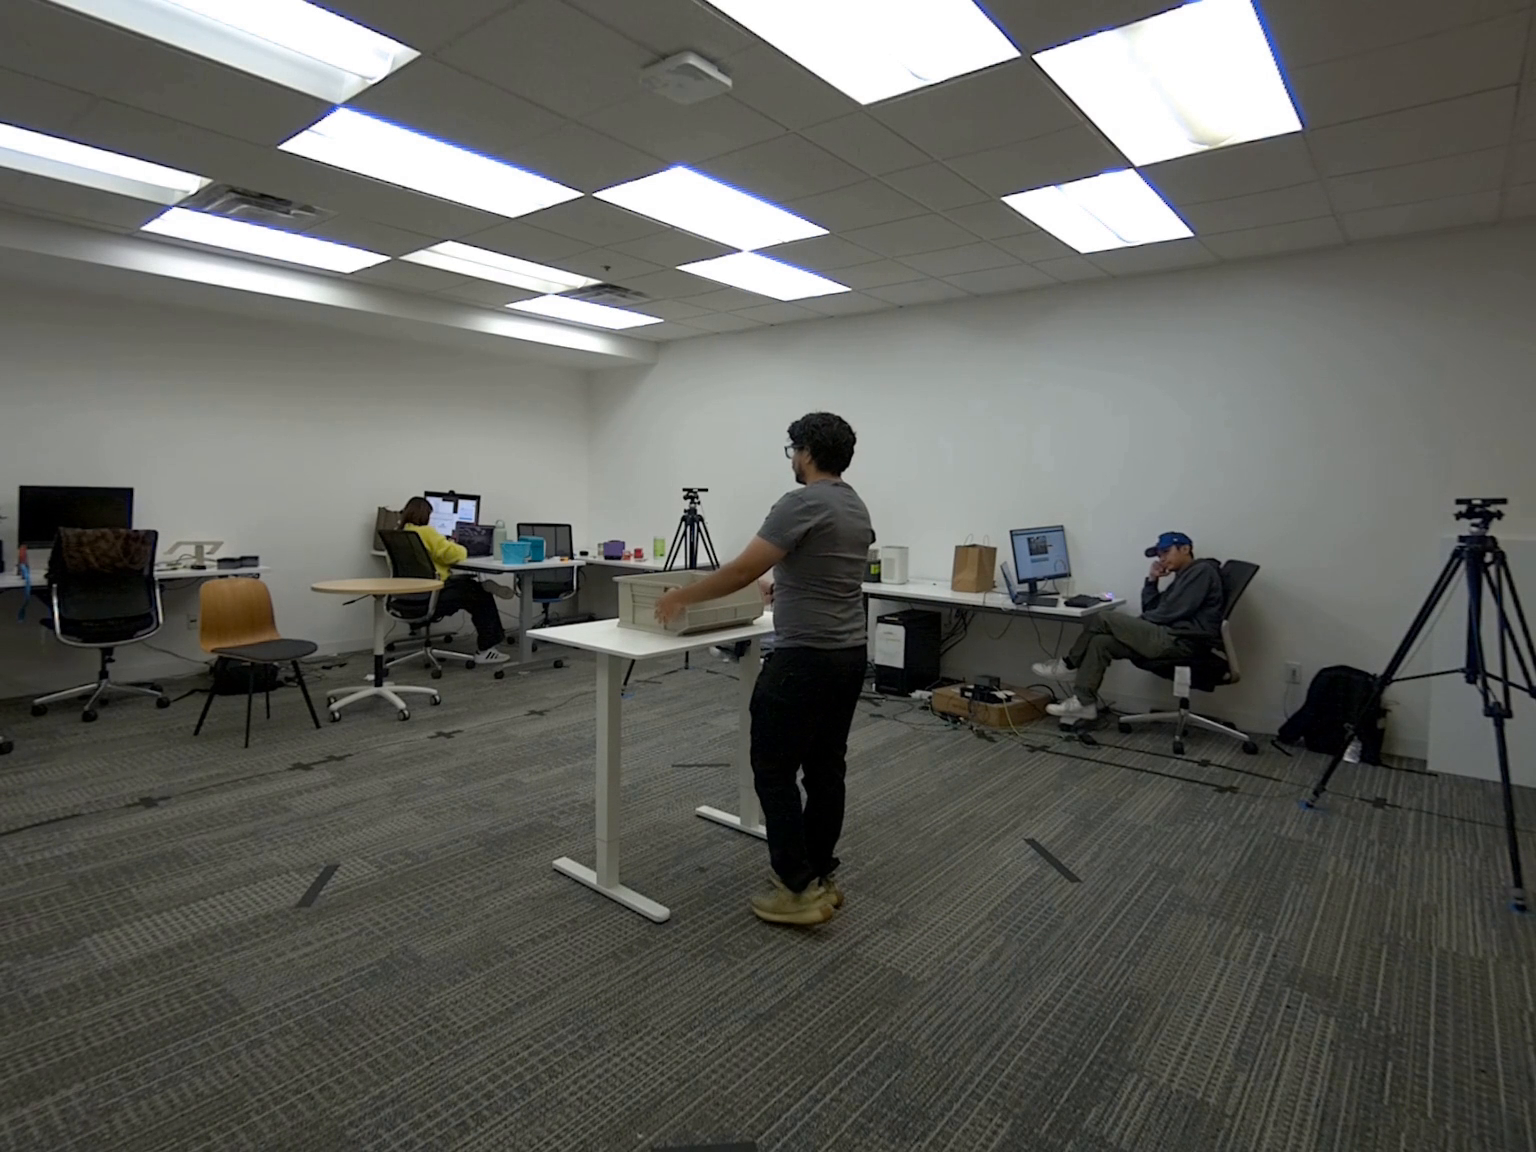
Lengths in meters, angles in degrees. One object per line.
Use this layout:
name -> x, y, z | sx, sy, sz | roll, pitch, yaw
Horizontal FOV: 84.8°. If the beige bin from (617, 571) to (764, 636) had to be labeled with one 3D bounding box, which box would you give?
beige bin -> -0.304, 0.097, 3.146 | 0.390, 0.188, 0.410 | 4, 7, 41
